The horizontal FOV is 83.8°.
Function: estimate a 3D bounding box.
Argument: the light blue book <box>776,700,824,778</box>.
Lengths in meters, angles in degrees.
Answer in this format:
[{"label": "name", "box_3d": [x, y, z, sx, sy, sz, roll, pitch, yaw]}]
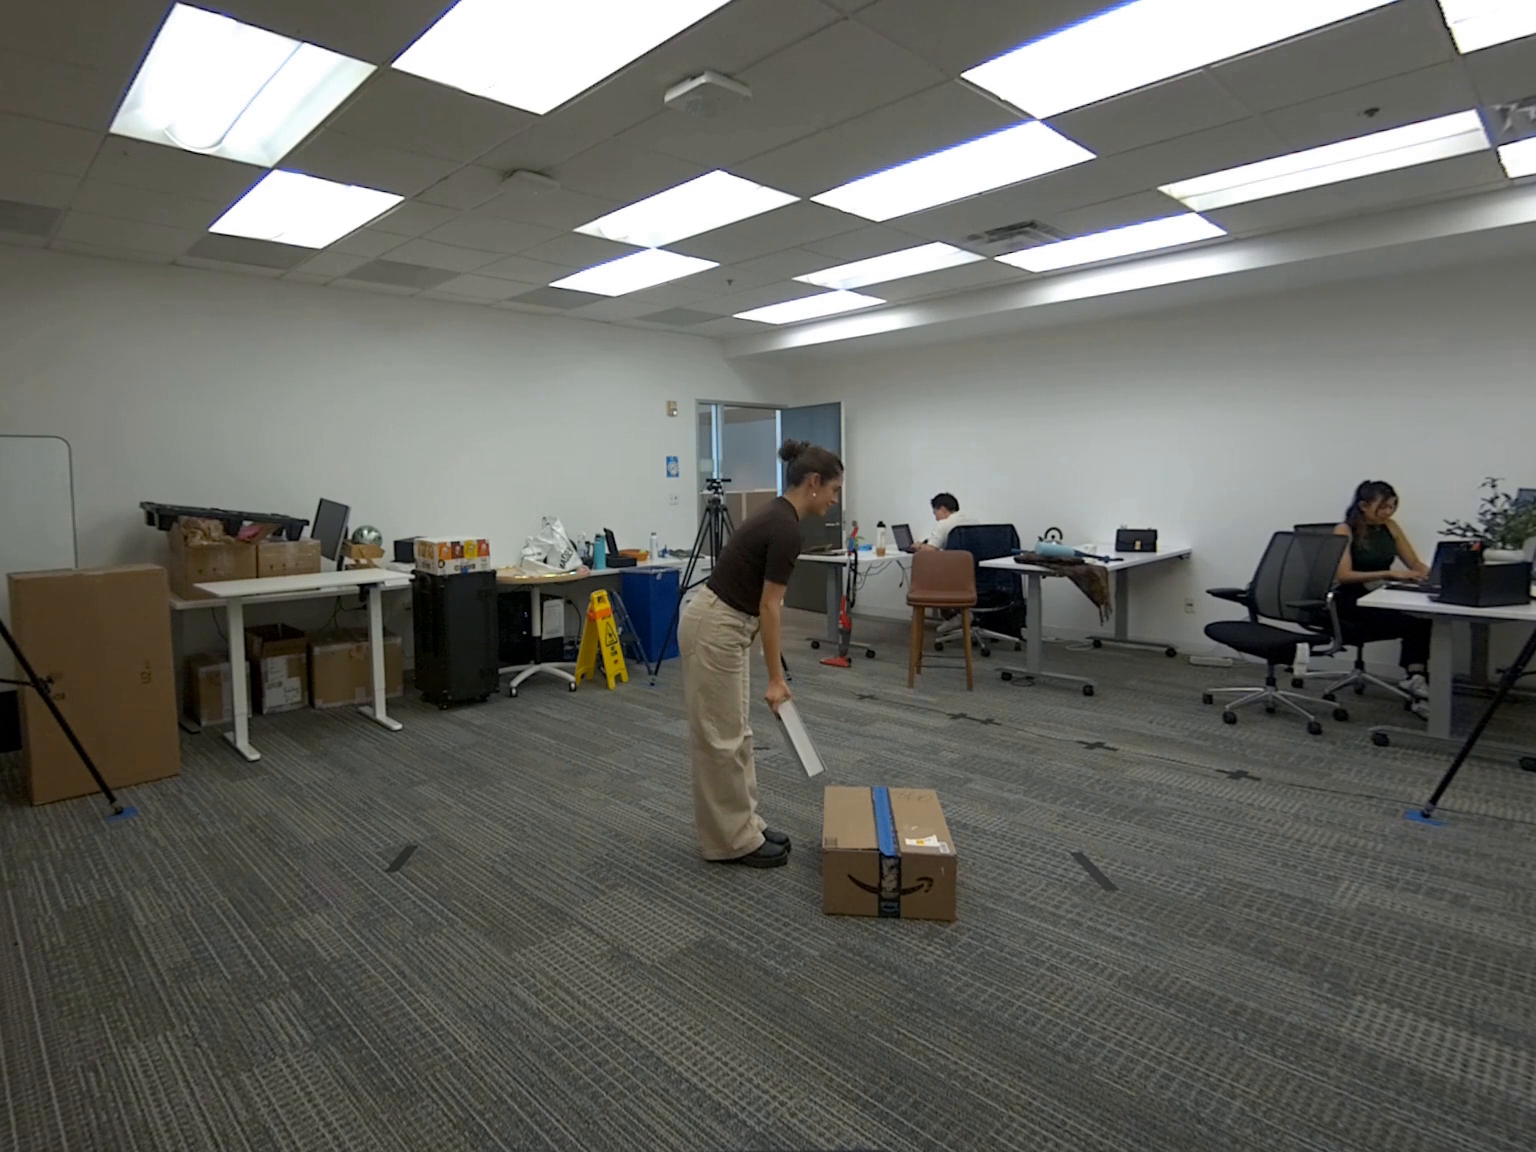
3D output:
[{"label": "light blue book", "box_3d": [0.111, 0.559, 2.936, 0.059, 0.267, 0.188, -25, -17, -8]}]
